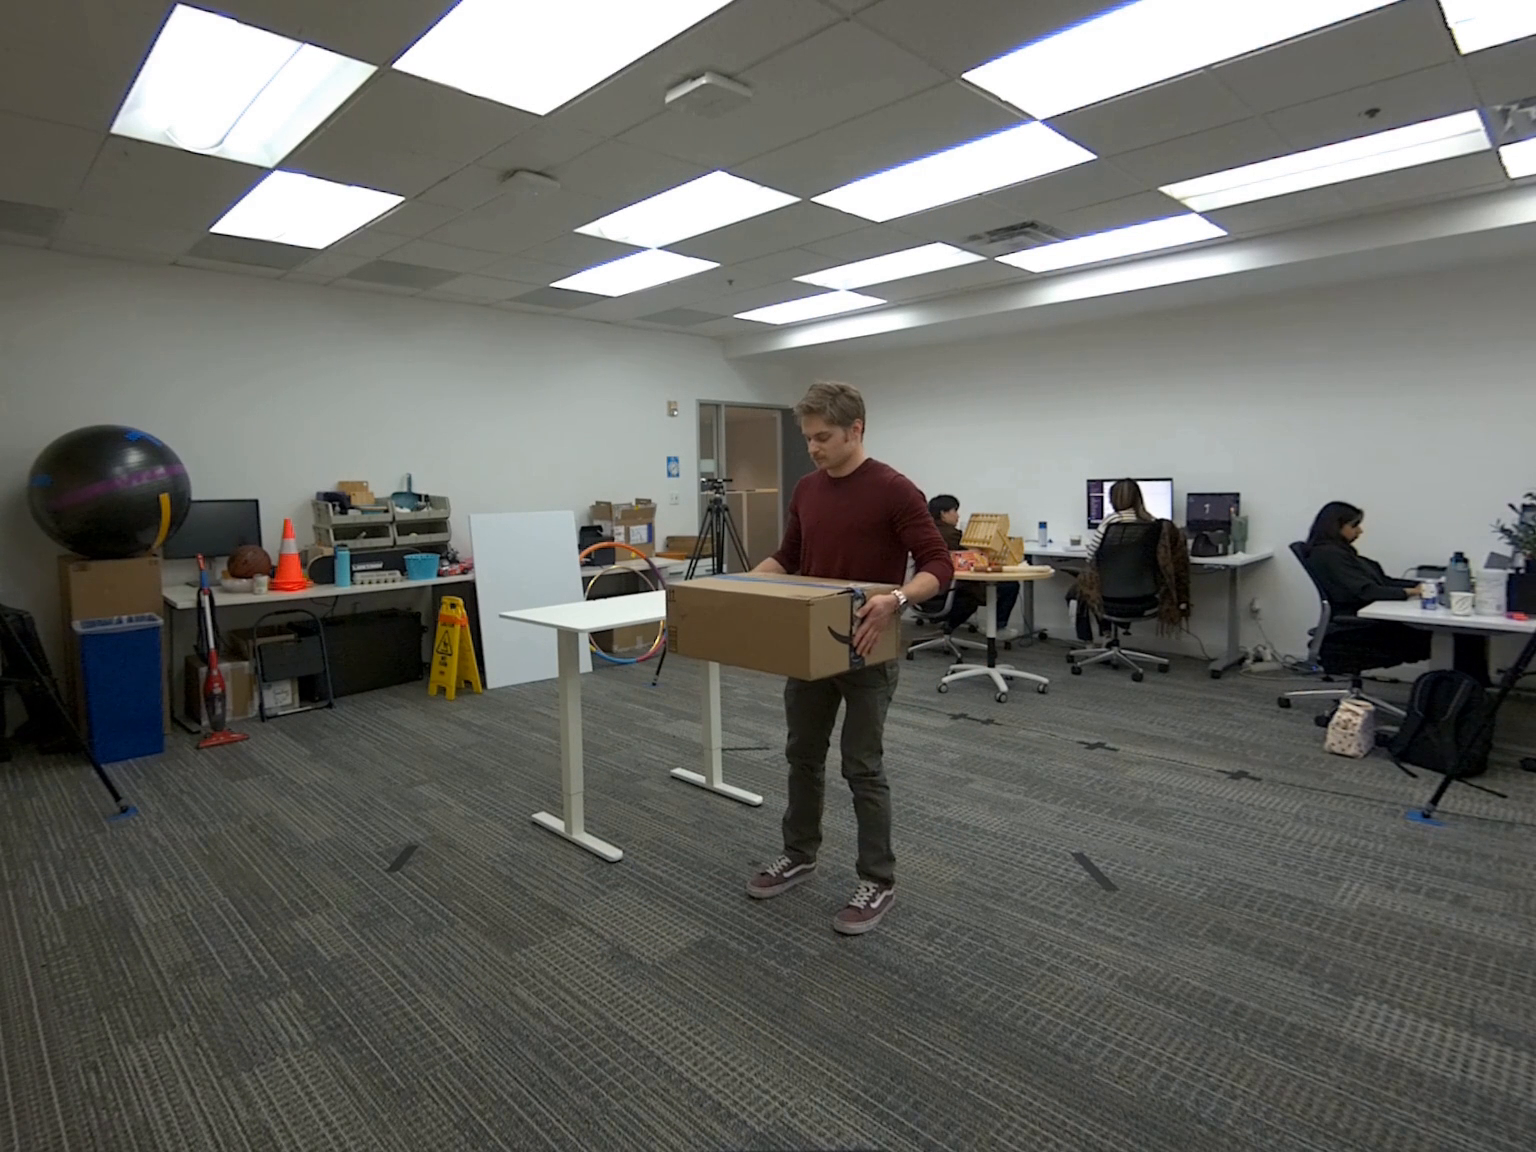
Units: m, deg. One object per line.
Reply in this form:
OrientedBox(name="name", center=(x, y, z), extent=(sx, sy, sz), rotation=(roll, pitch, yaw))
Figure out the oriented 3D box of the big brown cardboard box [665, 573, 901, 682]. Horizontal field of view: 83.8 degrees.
OrientedBox(name="big brown cardboard box", center=(0.040, 0.129, 2.542), extent=(0.607, 0.232, 0.406), rotation=(4, 6, 44))
